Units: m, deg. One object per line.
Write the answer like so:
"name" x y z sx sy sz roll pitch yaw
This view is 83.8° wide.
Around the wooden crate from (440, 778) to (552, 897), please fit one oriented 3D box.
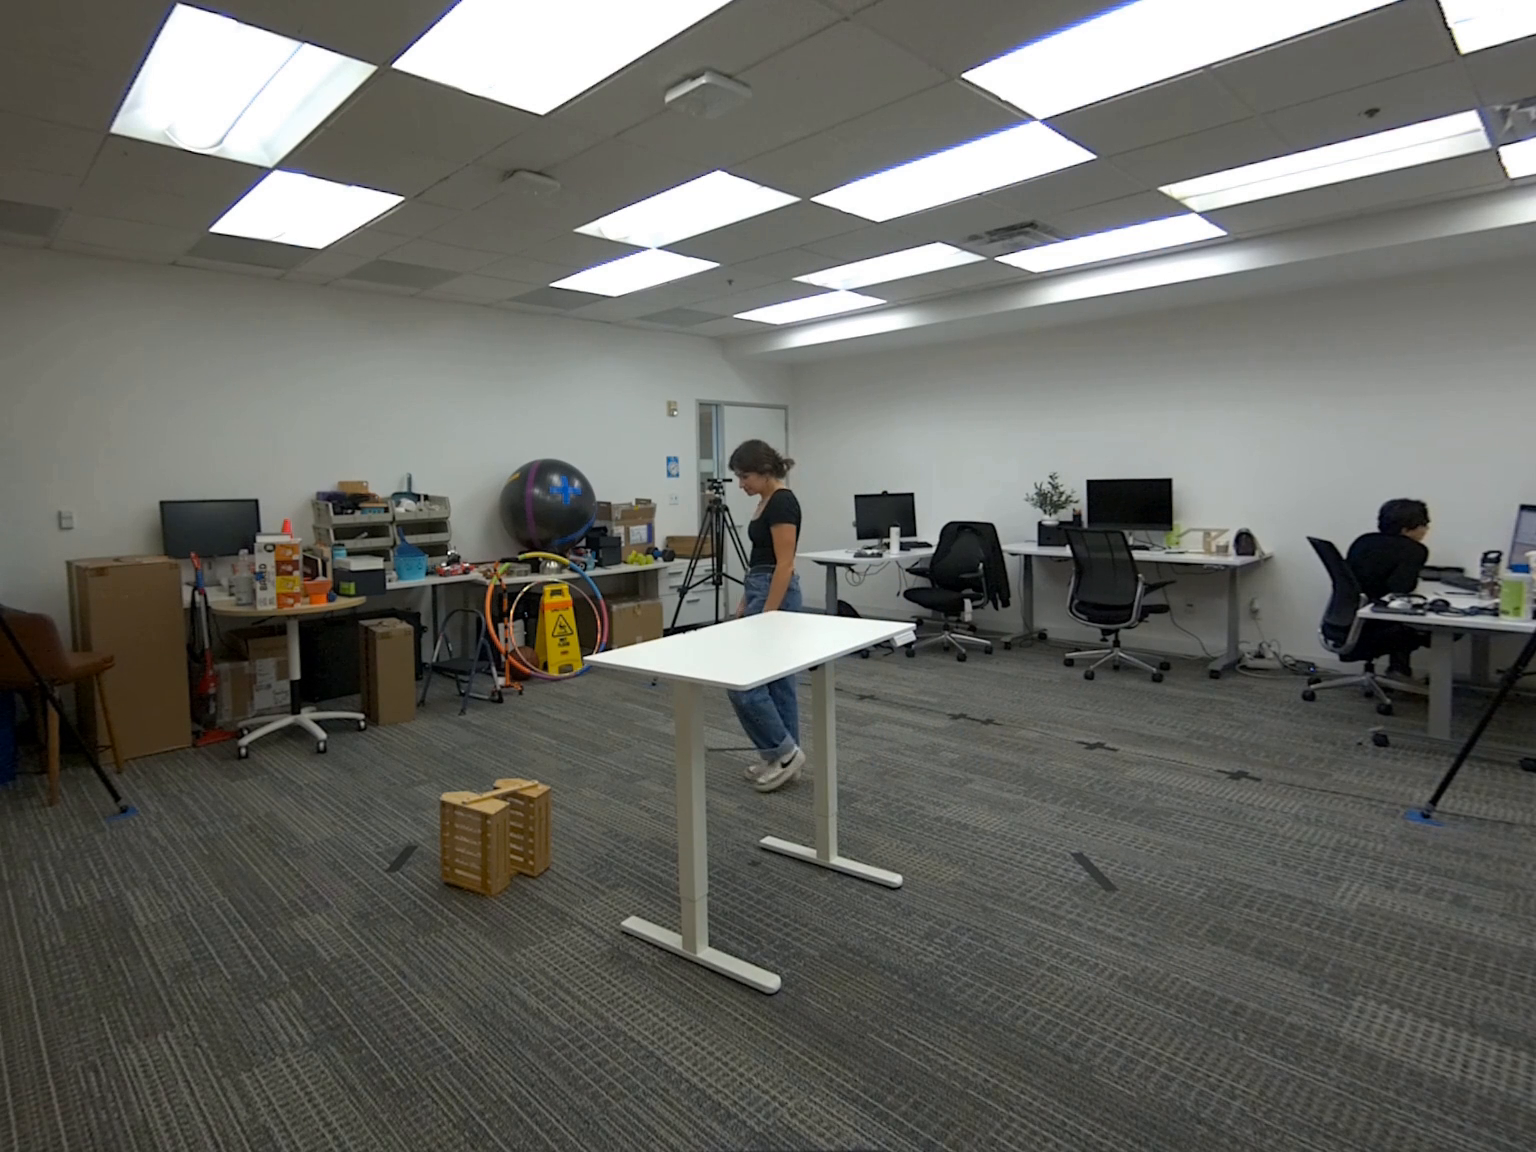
"wooden crate" -0.966 0.907 3.027 0.309 0.322 0.269 7 10 23
